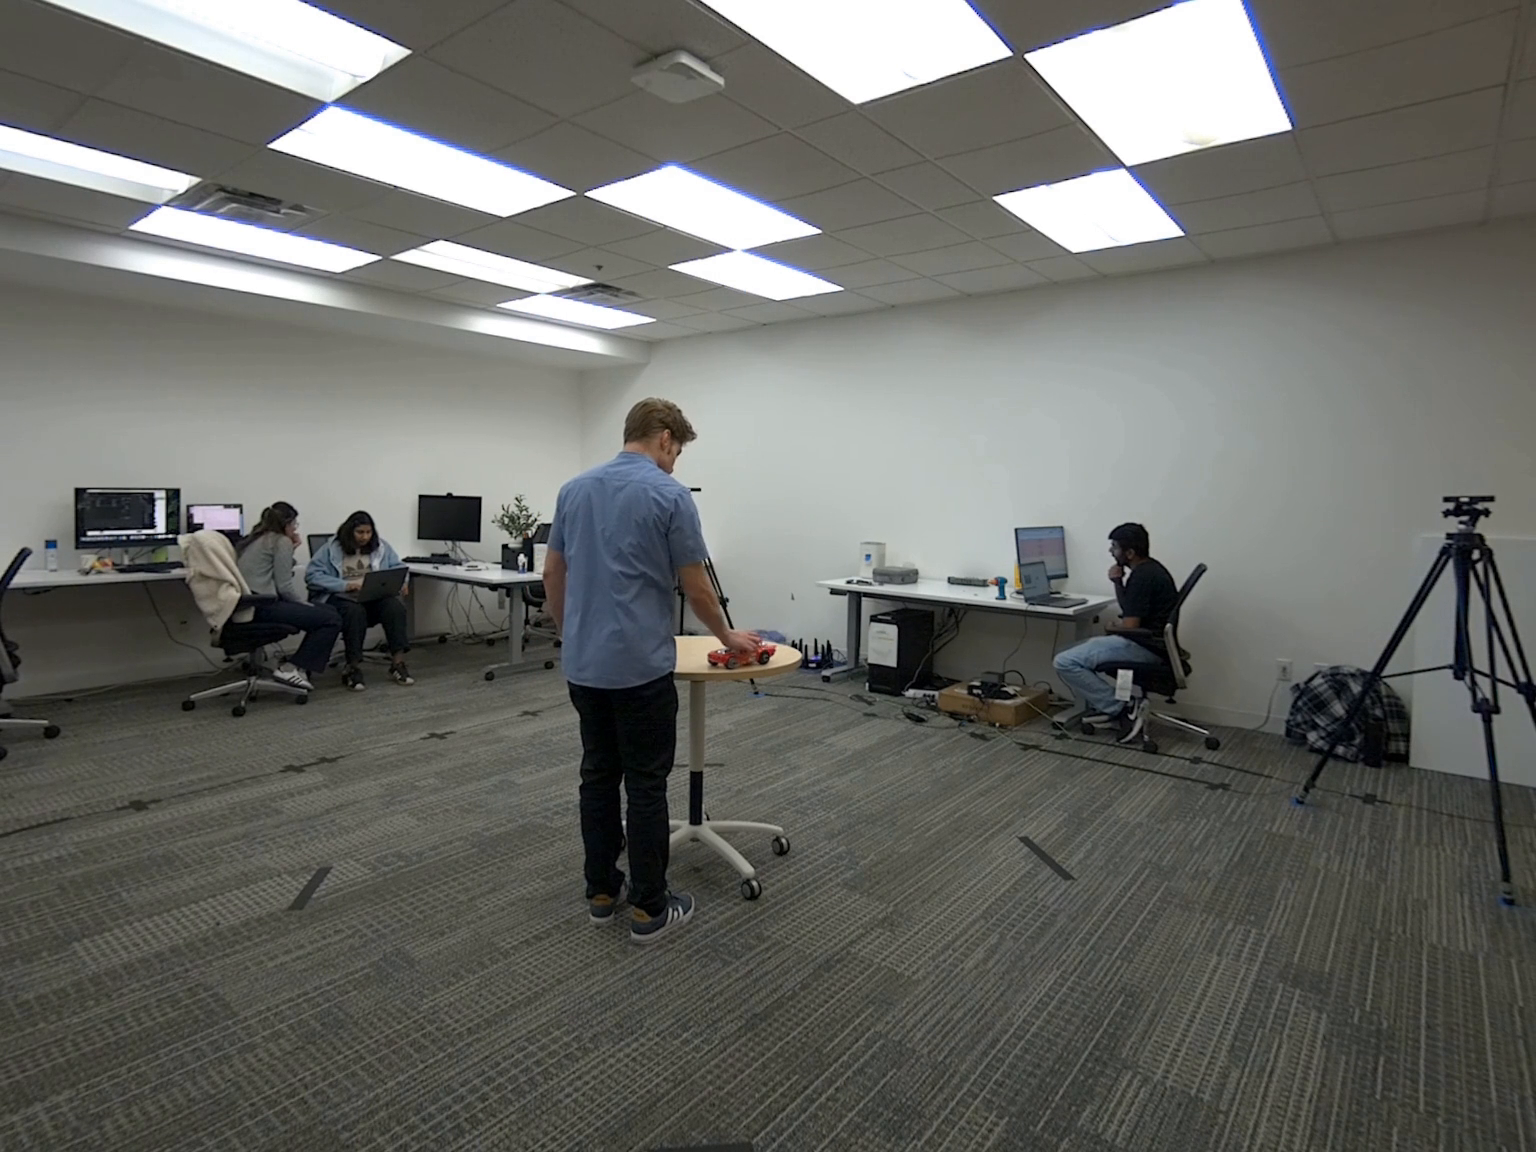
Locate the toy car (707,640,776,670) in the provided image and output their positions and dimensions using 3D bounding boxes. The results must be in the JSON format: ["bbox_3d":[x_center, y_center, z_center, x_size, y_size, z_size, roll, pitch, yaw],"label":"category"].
[{"bbox_3d":[-0.091,0.271,2.937,0.249,0.082,0.134,-19,15,-37],"label":"toy car"}]
